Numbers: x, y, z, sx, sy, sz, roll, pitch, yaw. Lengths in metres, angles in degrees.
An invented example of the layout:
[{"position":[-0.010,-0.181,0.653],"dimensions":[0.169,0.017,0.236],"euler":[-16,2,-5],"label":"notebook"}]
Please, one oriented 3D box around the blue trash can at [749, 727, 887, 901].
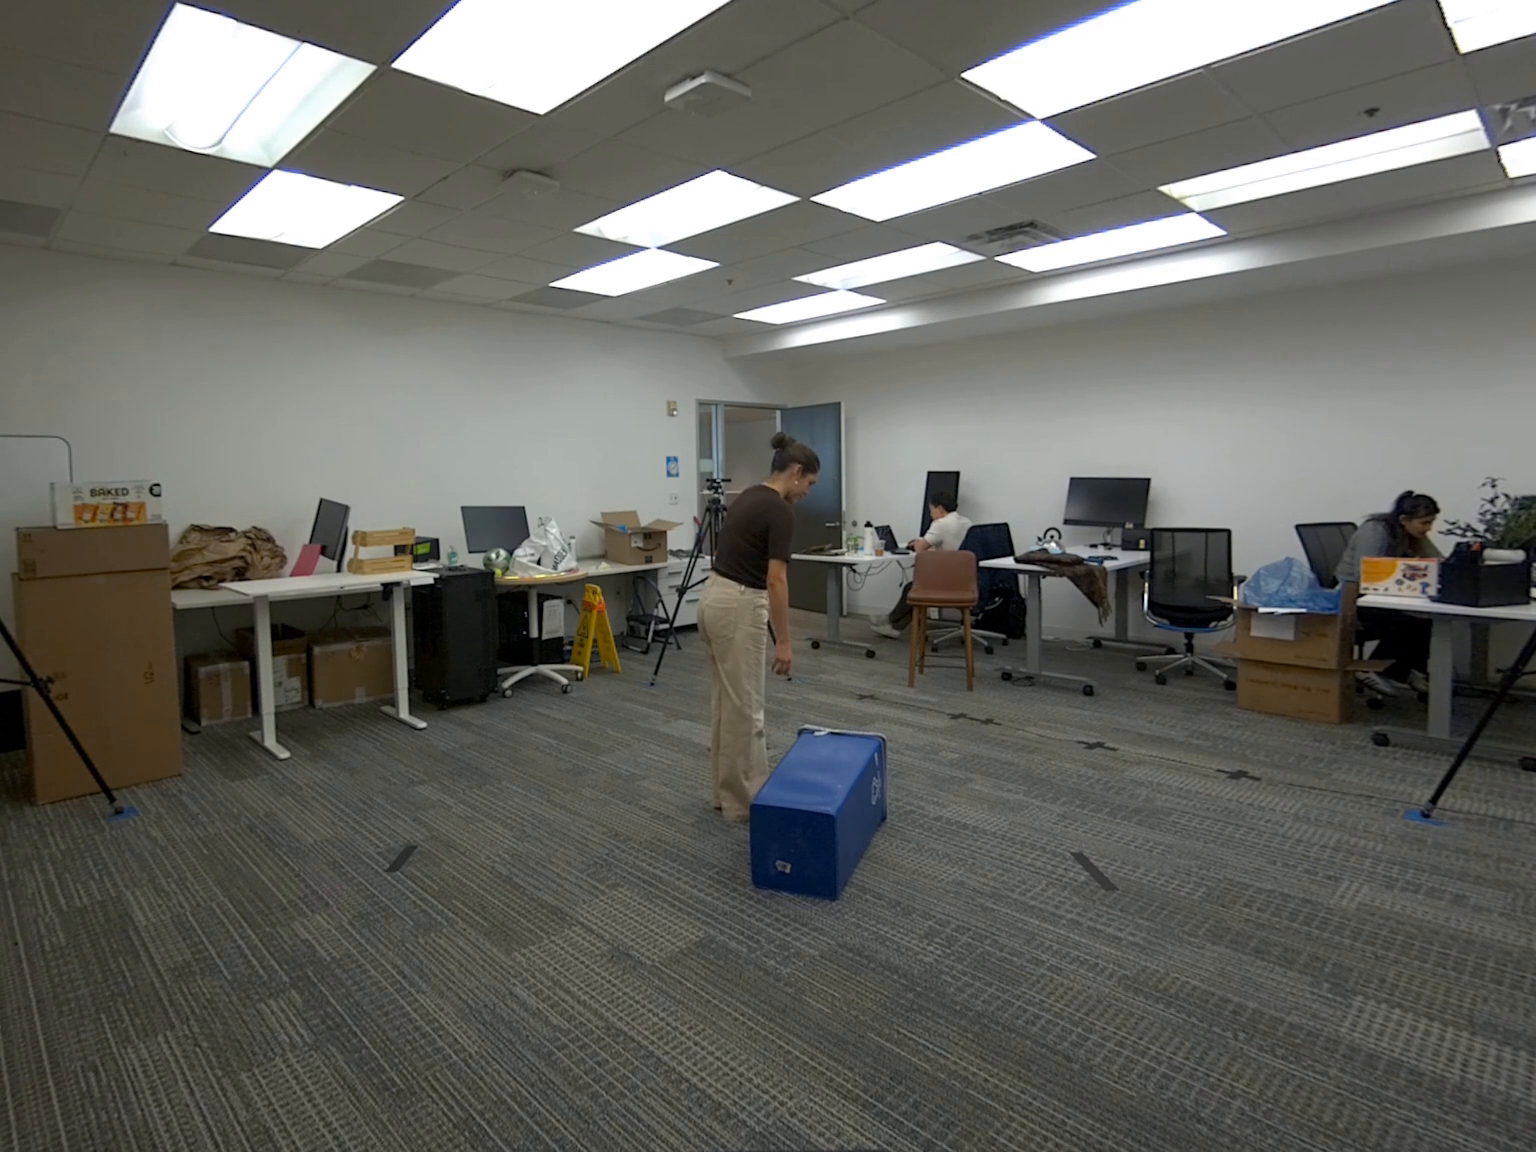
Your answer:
[{"position":[0.193,0.863,3.177],"dimensions":[0.386,0.371,0.704],"euler":[1,9,21],"label":"blue trash can"}]
